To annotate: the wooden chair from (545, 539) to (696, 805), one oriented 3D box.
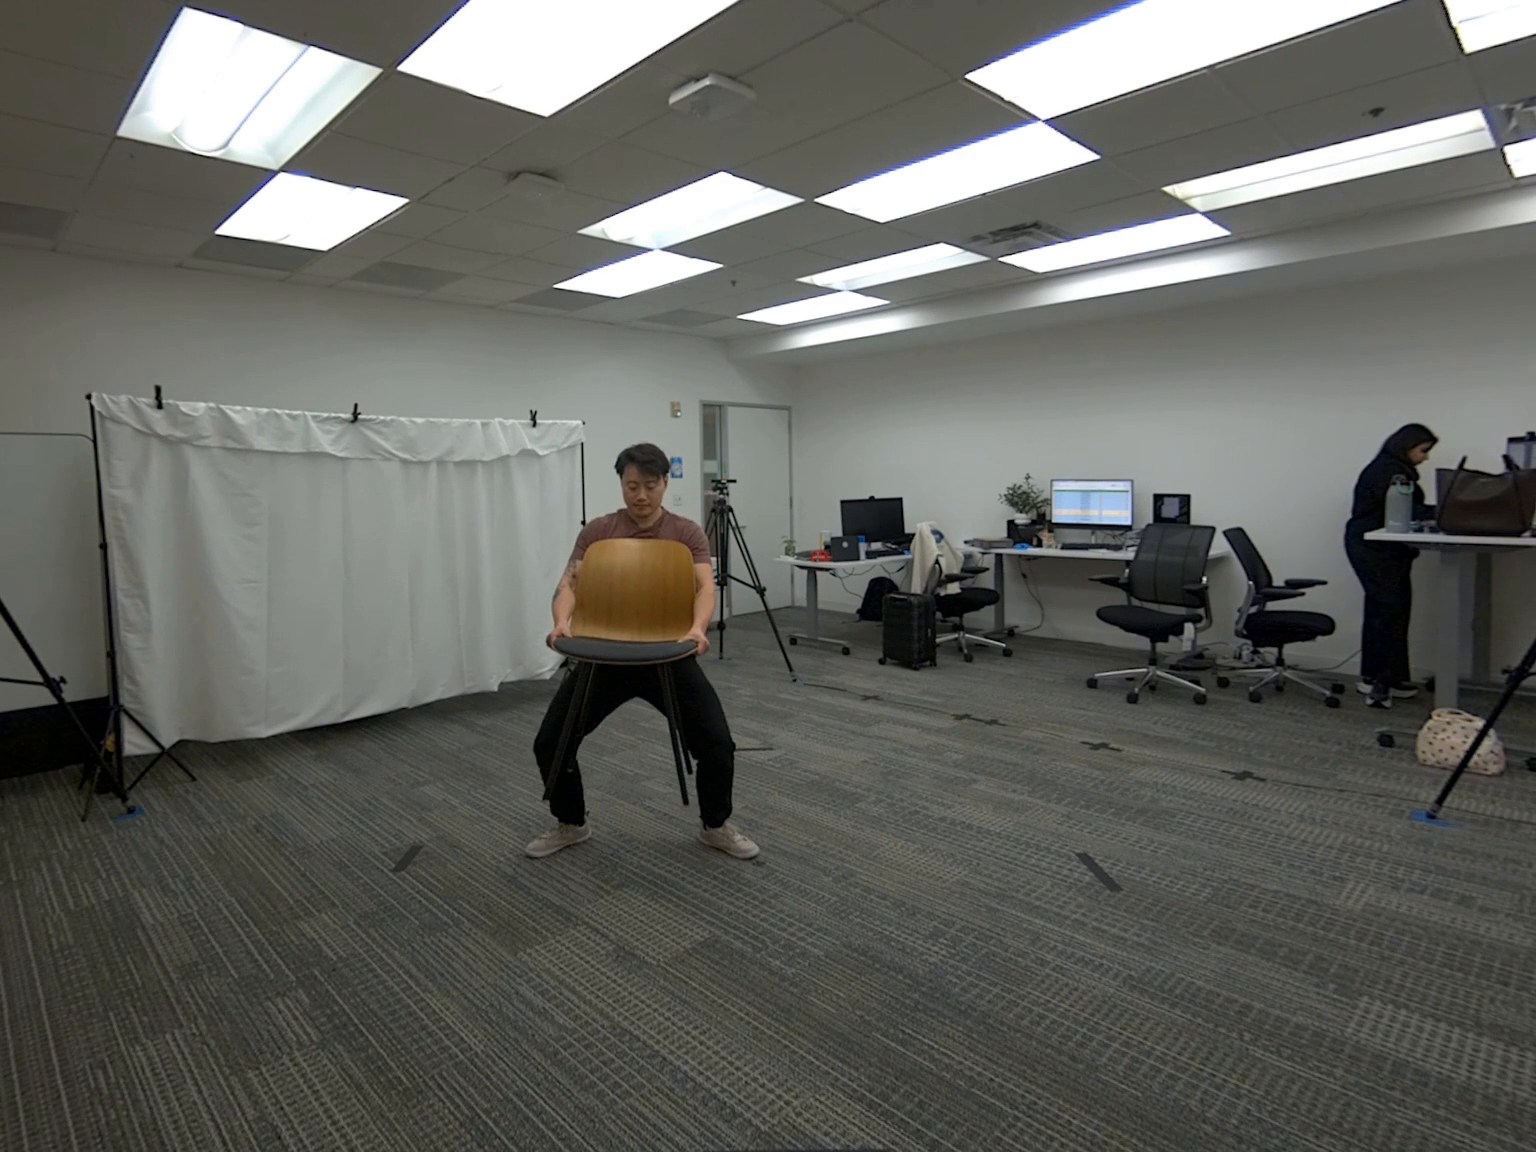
[{"bbox_3d":[-0.467,0.284,2.869,0.478,0.883,0.520,2,-7,-2],"label":"wooden chair"}]
